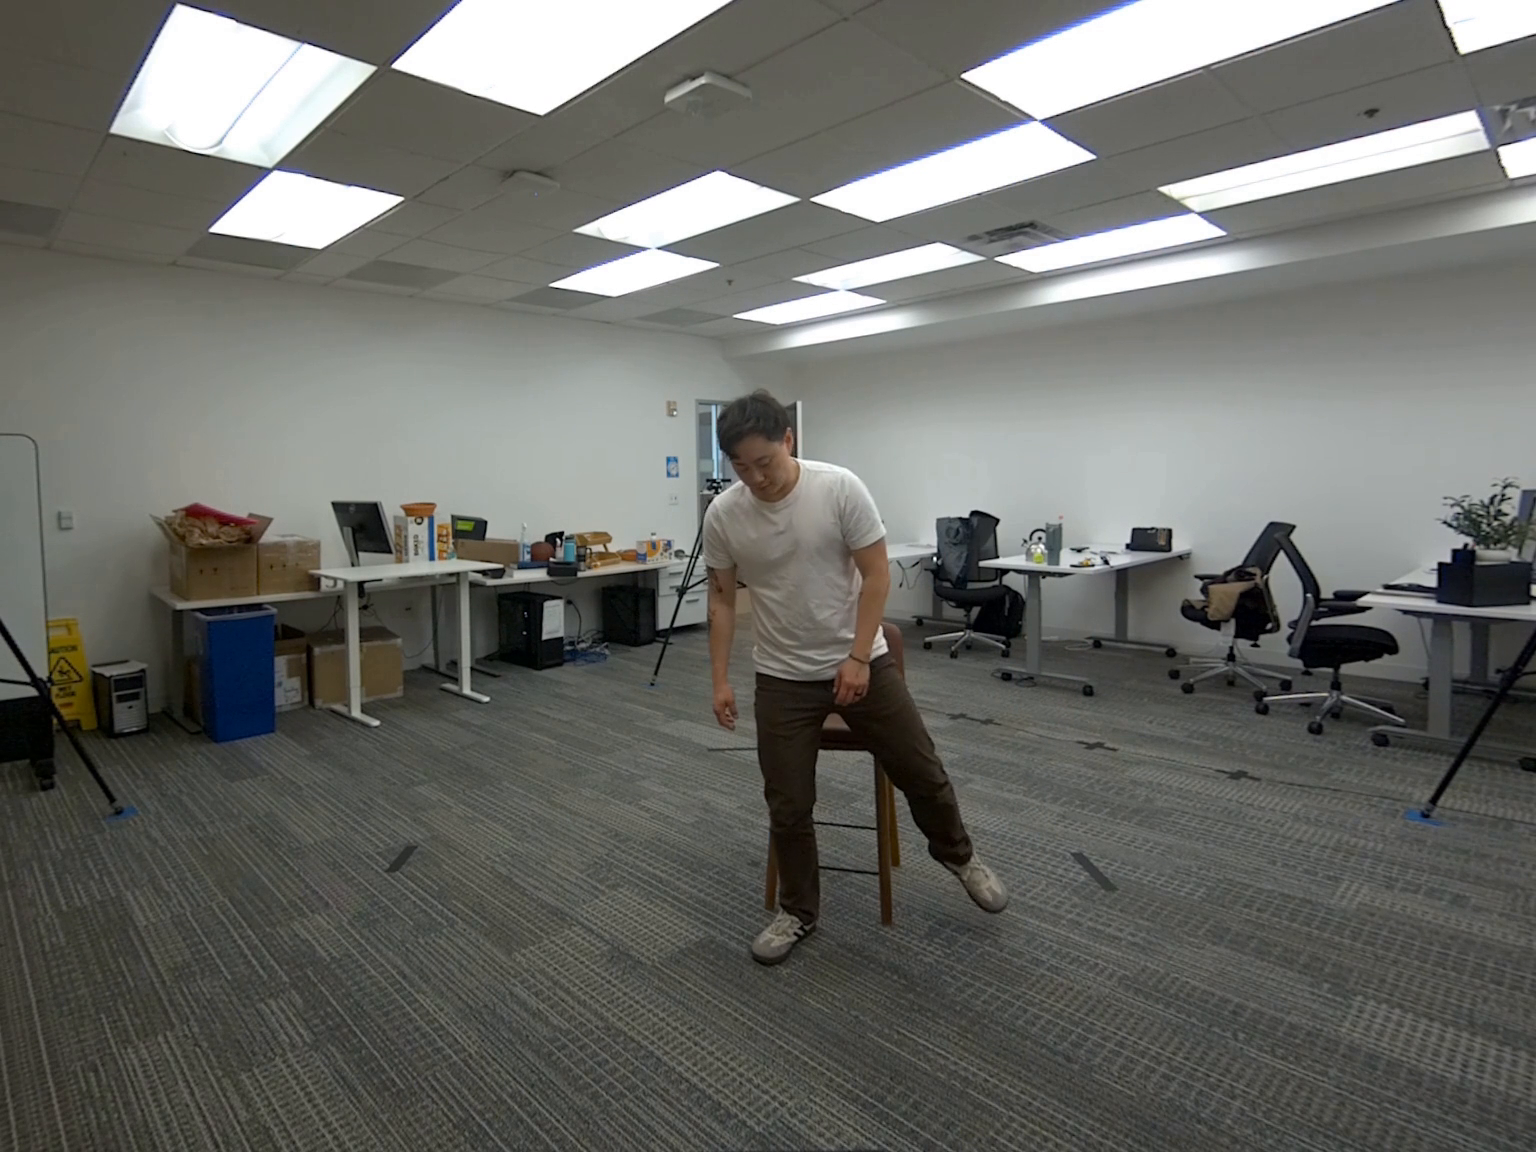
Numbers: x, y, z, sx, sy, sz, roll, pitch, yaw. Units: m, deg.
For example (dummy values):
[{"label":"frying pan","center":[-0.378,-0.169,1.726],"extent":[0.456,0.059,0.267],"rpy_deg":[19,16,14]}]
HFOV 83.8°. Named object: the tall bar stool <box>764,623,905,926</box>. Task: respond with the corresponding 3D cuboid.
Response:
[{"label":"tall bar stool","center":[0.244,0.629,2.903],"extent":[0.464,0.888,0.461],"rpy_deg":[1,3,17]}]
